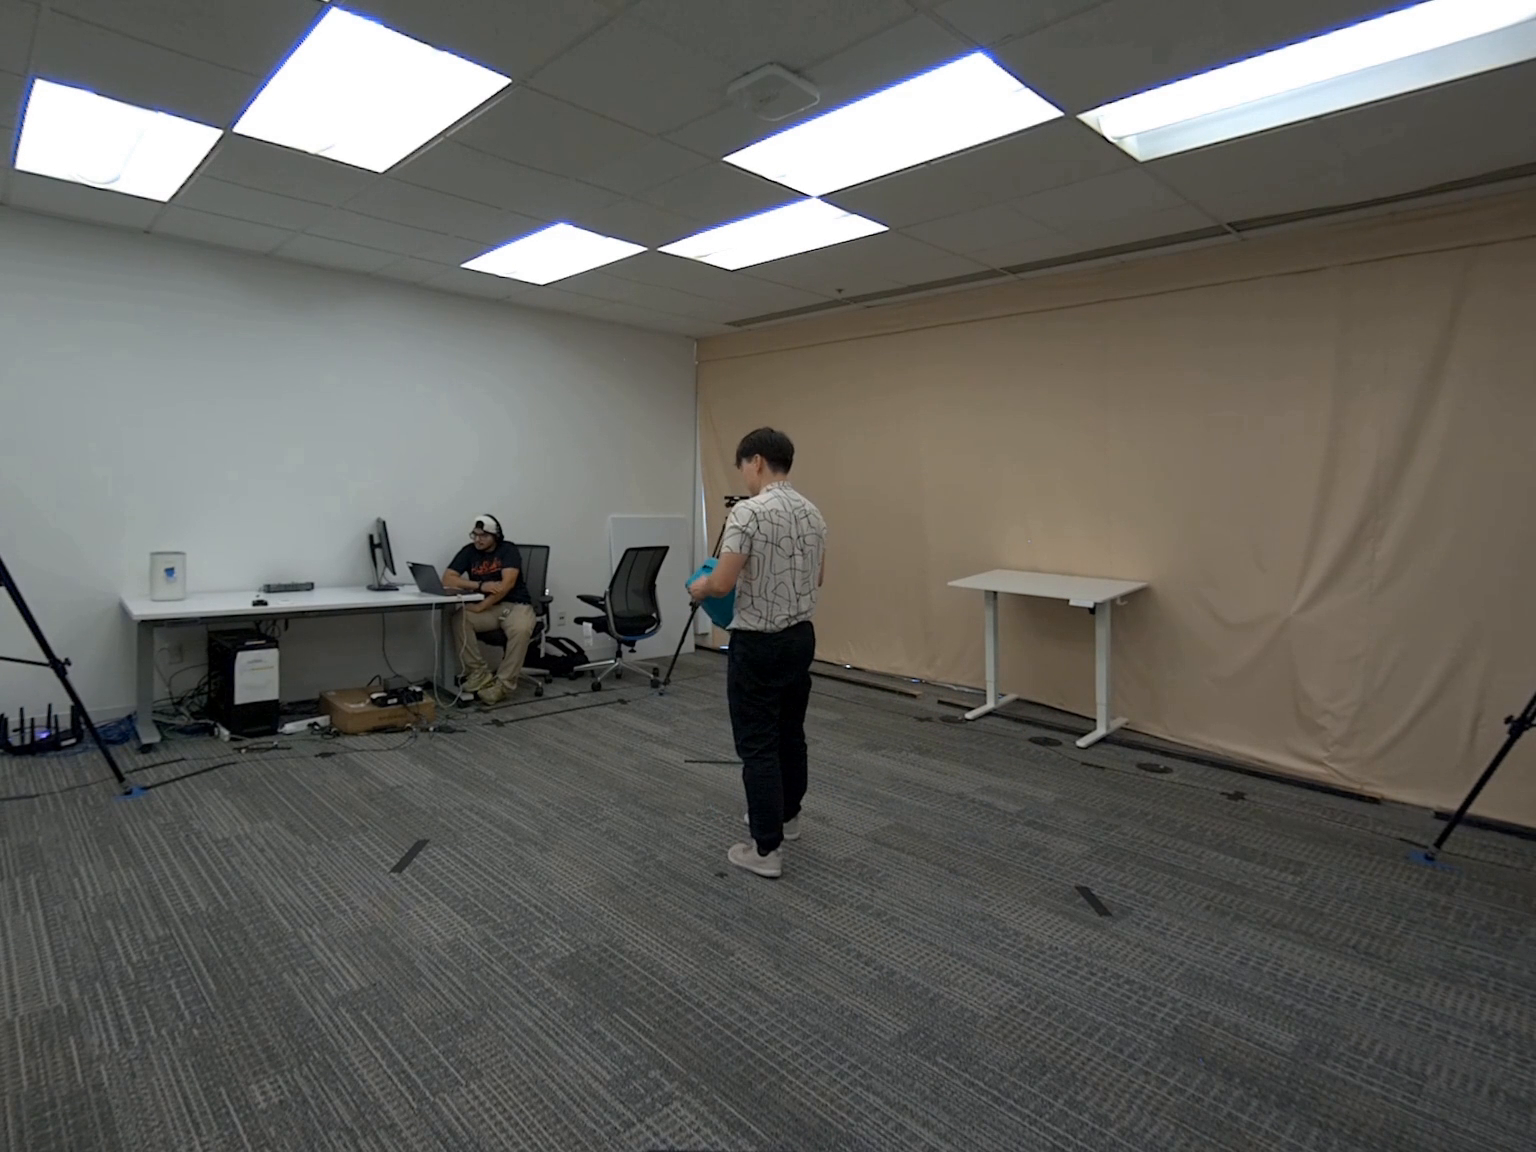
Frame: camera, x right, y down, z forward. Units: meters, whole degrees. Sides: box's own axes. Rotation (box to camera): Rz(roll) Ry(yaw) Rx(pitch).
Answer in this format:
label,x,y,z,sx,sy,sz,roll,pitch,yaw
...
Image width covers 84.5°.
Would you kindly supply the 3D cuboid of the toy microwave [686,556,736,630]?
label,x,y,z,sx,sy,sz,roll,pitch,yaw
toy microwave,-0.199,0.080,3.525,0.184,0.278,0.156,-46,31,-15
